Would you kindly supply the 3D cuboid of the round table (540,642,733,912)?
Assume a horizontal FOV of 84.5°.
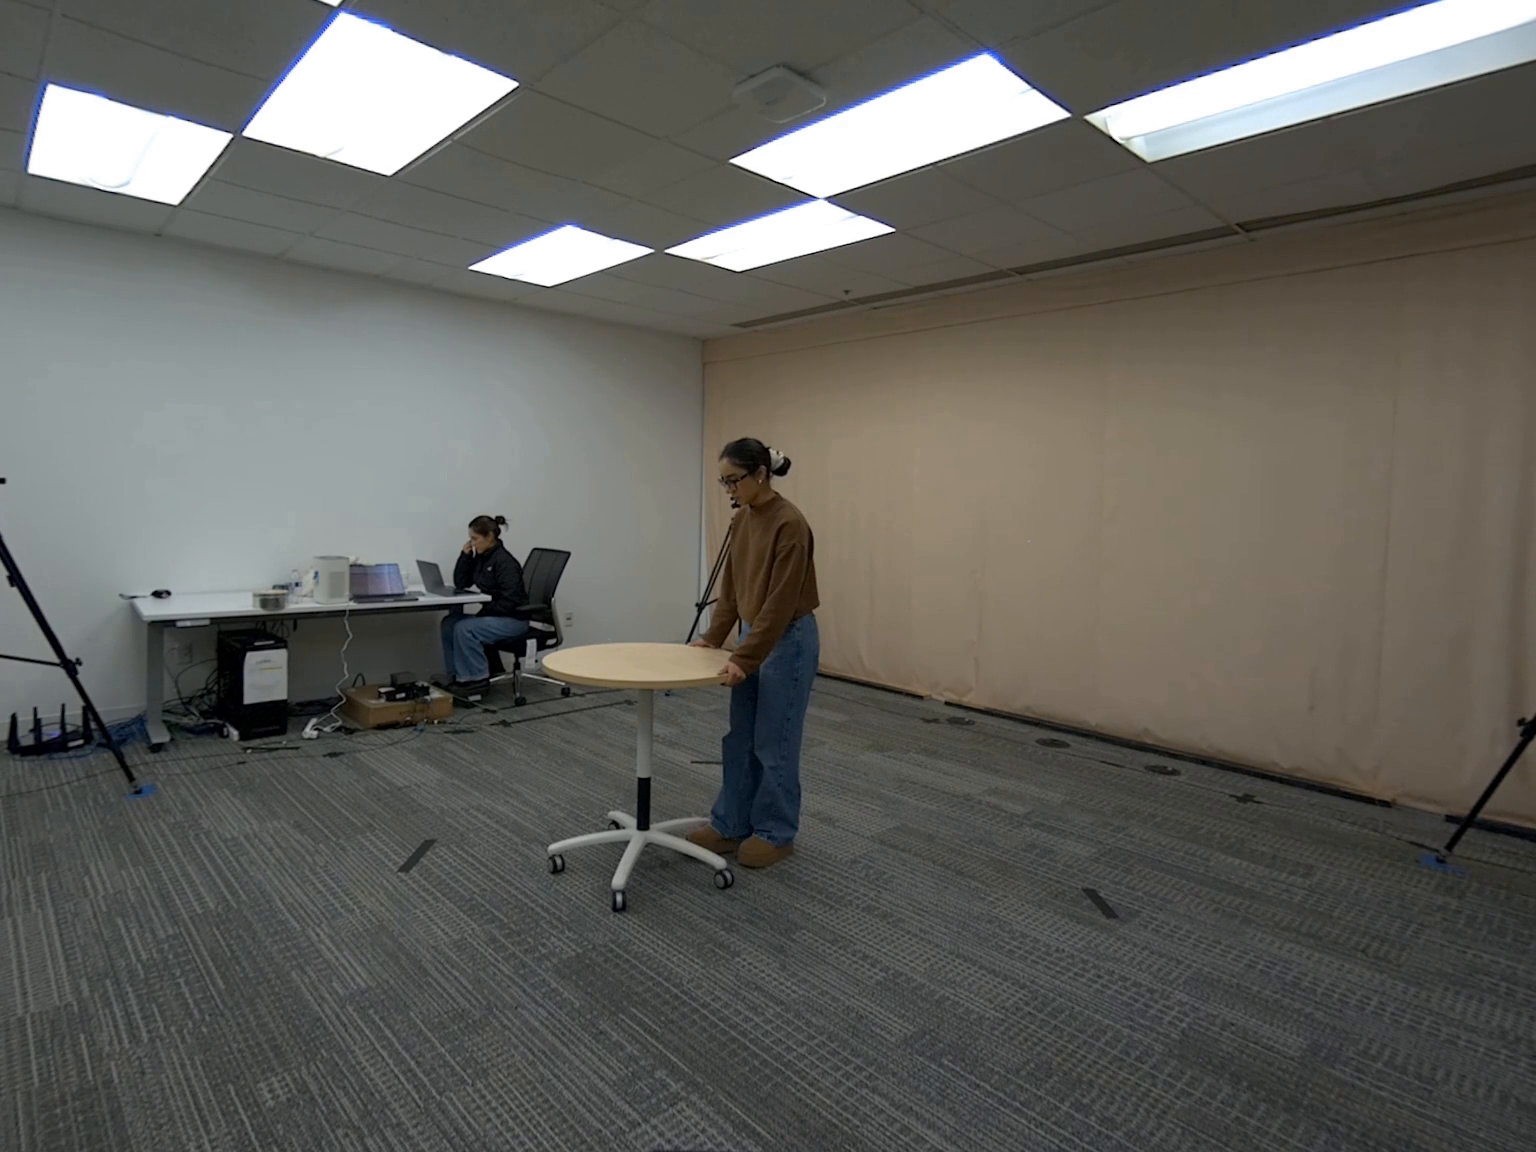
[{"bbox_3d":[-0.468,0.707,3.153,0.763,0.792,0.766,1,4,-1],"label":"round table"}]
